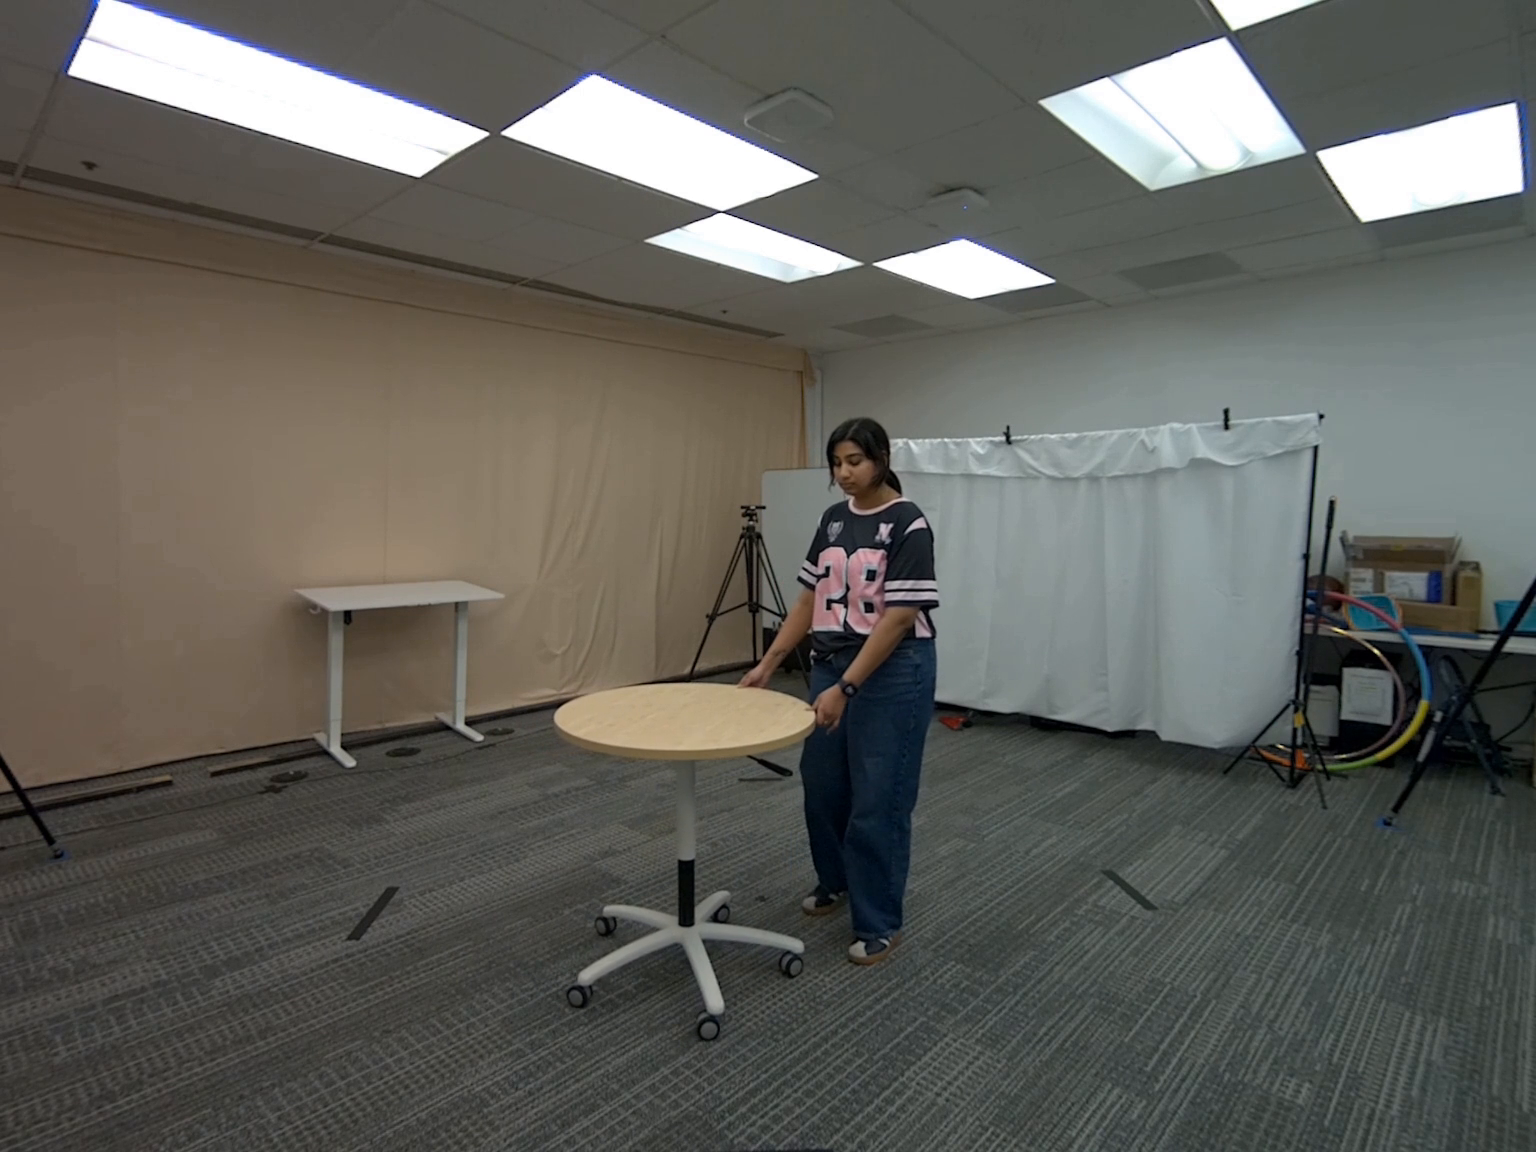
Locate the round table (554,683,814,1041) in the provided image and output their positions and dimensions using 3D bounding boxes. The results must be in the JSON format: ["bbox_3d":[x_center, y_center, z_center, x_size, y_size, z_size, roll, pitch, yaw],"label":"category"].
[{"bbox_3d":[-0.249,0.799,2.514,0.763,0.792,0.767,0,4,-2],"label":"round table"}]
